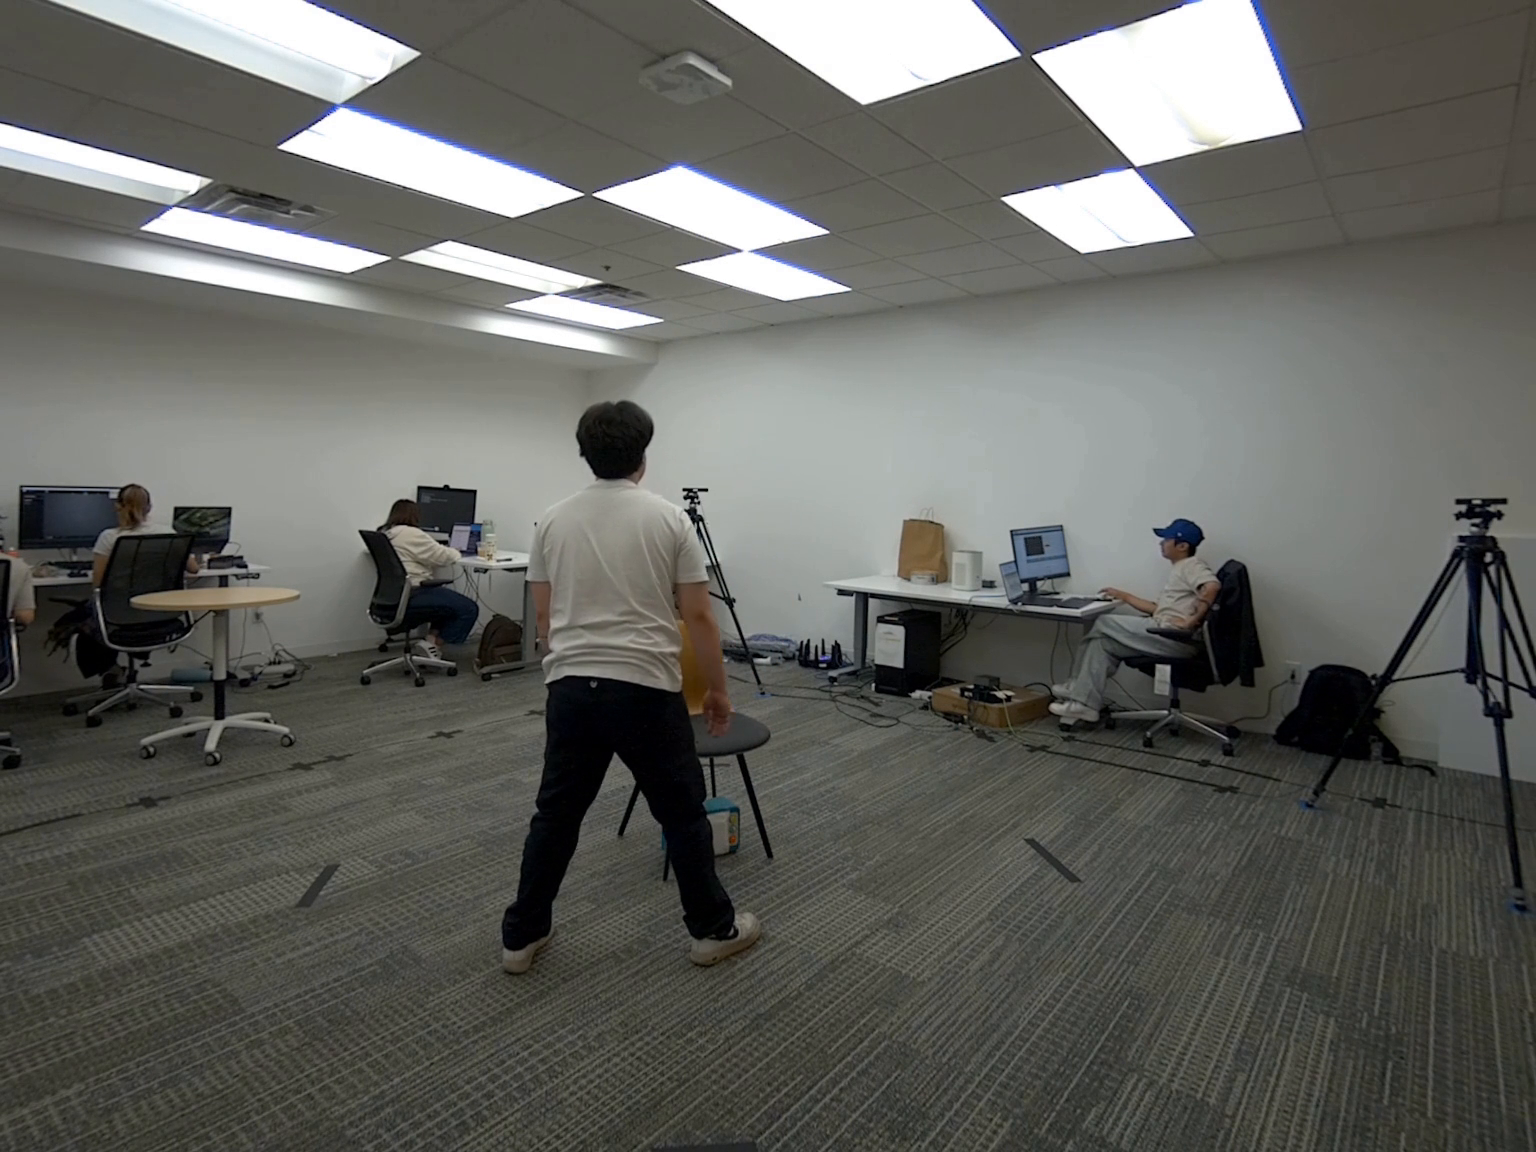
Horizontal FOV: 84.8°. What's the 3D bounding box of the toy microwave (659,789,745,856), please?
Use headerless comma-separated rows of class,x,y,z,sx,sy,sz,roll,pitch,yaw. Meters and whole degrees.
toy microwave,-0.258,0.959,3.240,0.279,0.183,0.157,-2,5,-29
